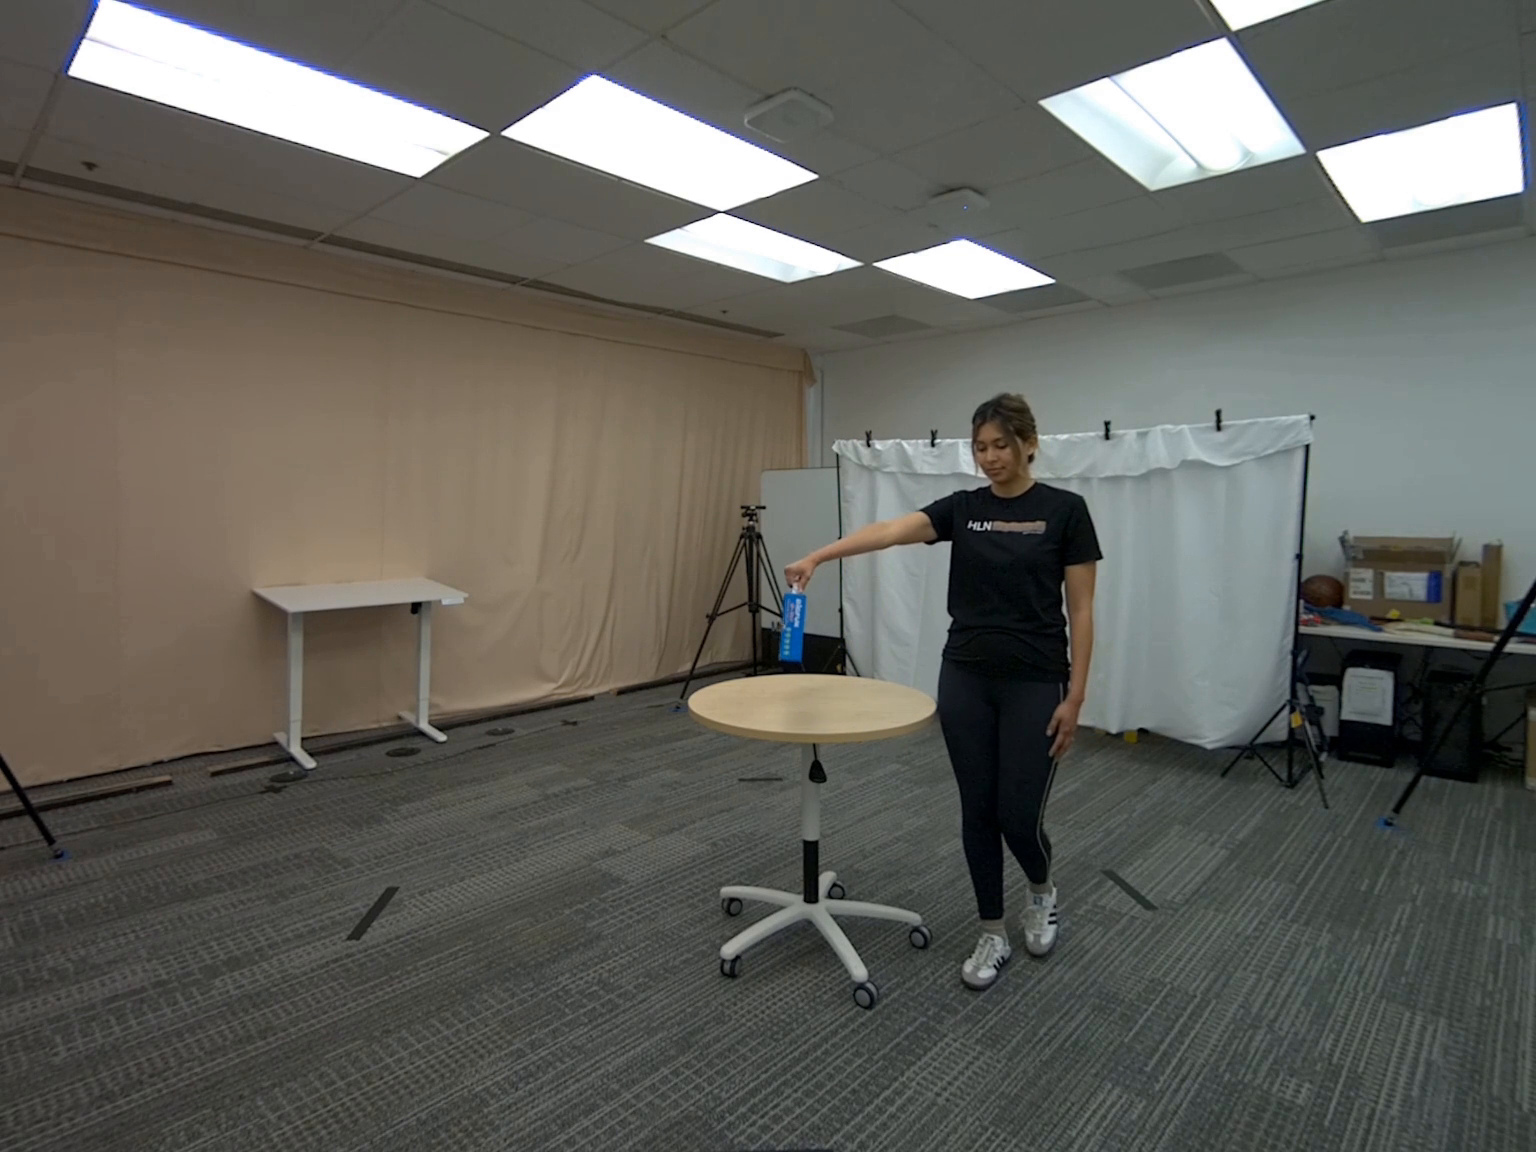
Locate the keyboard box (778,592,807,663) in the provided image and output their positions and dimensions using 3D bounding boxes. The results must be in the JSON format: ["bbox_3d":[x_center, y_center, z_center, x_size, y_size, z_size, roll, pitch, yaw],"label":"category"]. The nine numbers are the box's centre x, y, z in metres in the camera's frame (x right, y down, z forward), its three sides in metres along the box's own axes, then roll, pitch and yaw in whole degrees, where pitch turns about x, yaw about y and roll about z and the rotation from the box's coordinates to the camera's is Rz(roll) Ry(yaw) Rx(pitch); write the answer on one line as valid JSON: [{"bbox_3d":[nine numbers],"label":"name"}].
[{"bbox_3d":[0.079,0.141,2.363,0.059,0.176,0.435,5,-3,1],"label":"keyboard box"}]
